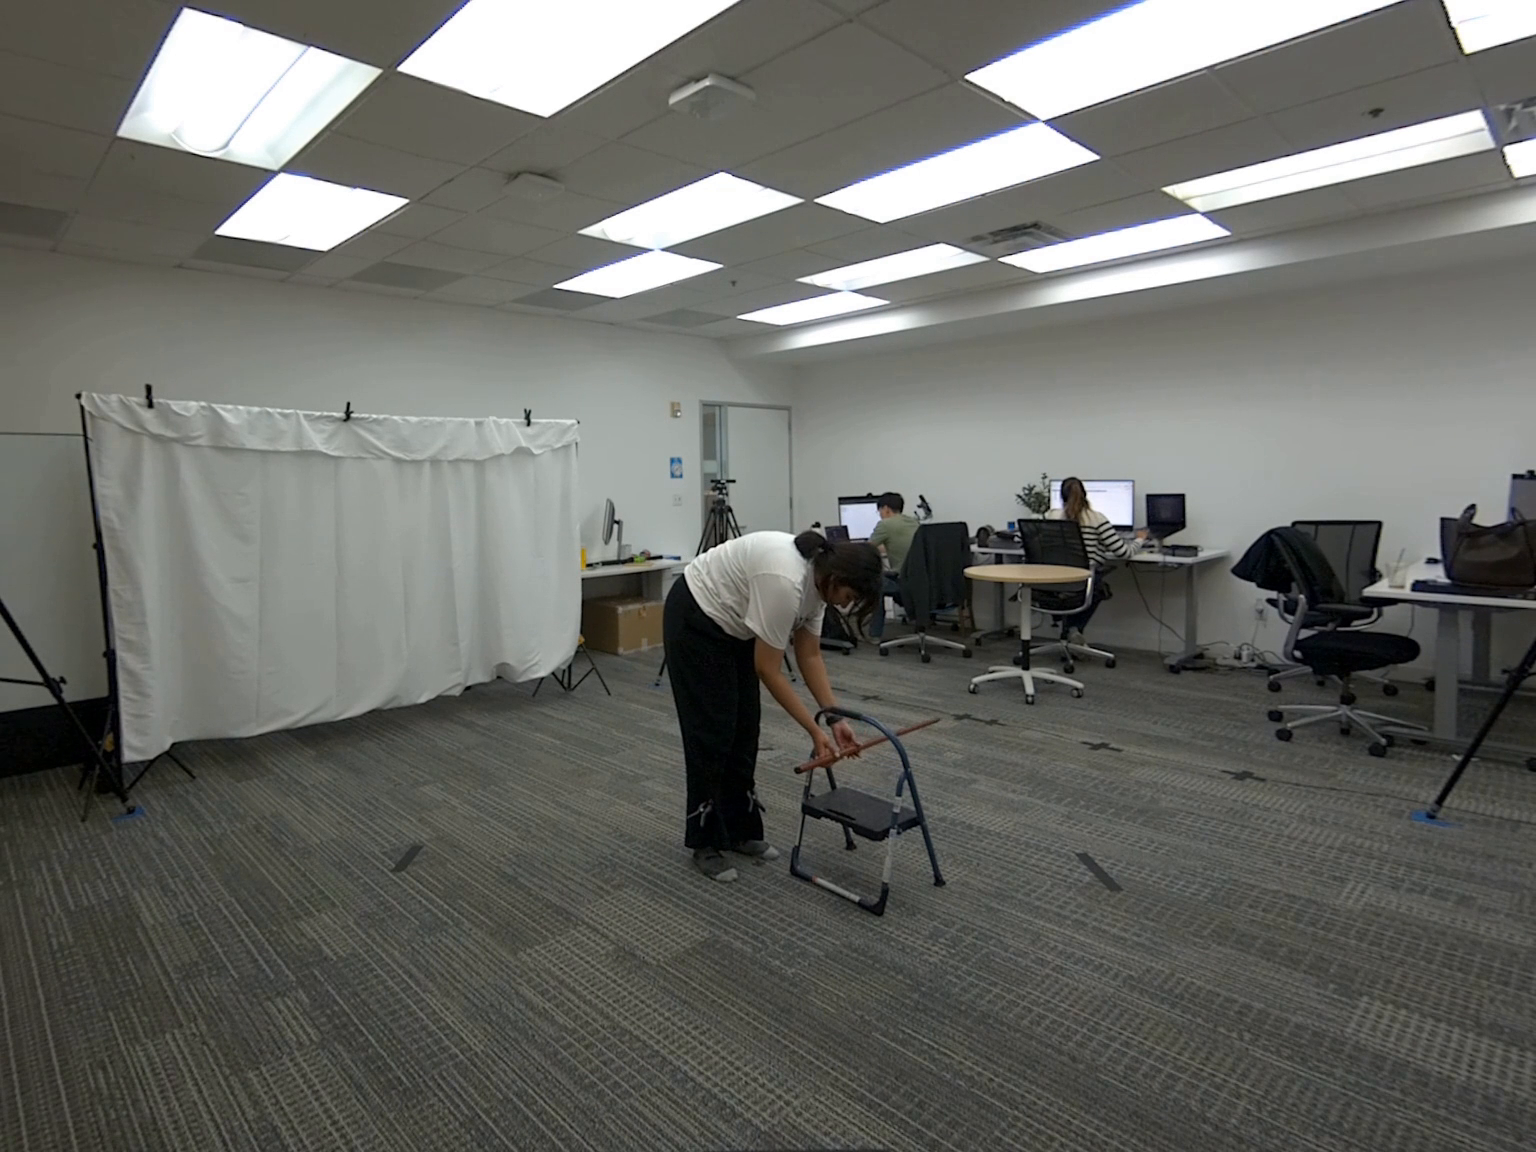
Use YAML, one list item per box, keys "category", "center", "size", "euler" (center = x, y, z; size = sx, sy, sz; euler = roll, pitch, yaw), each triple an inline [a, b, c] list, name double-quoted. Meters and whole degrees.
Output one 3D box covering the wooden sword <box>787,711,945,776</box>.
- category: "wooden sword"
  center: [0.389, 0.591, 3.116]
  size: [0.025, 0.051, 0.996]
  euler: [41, 25, 30]
